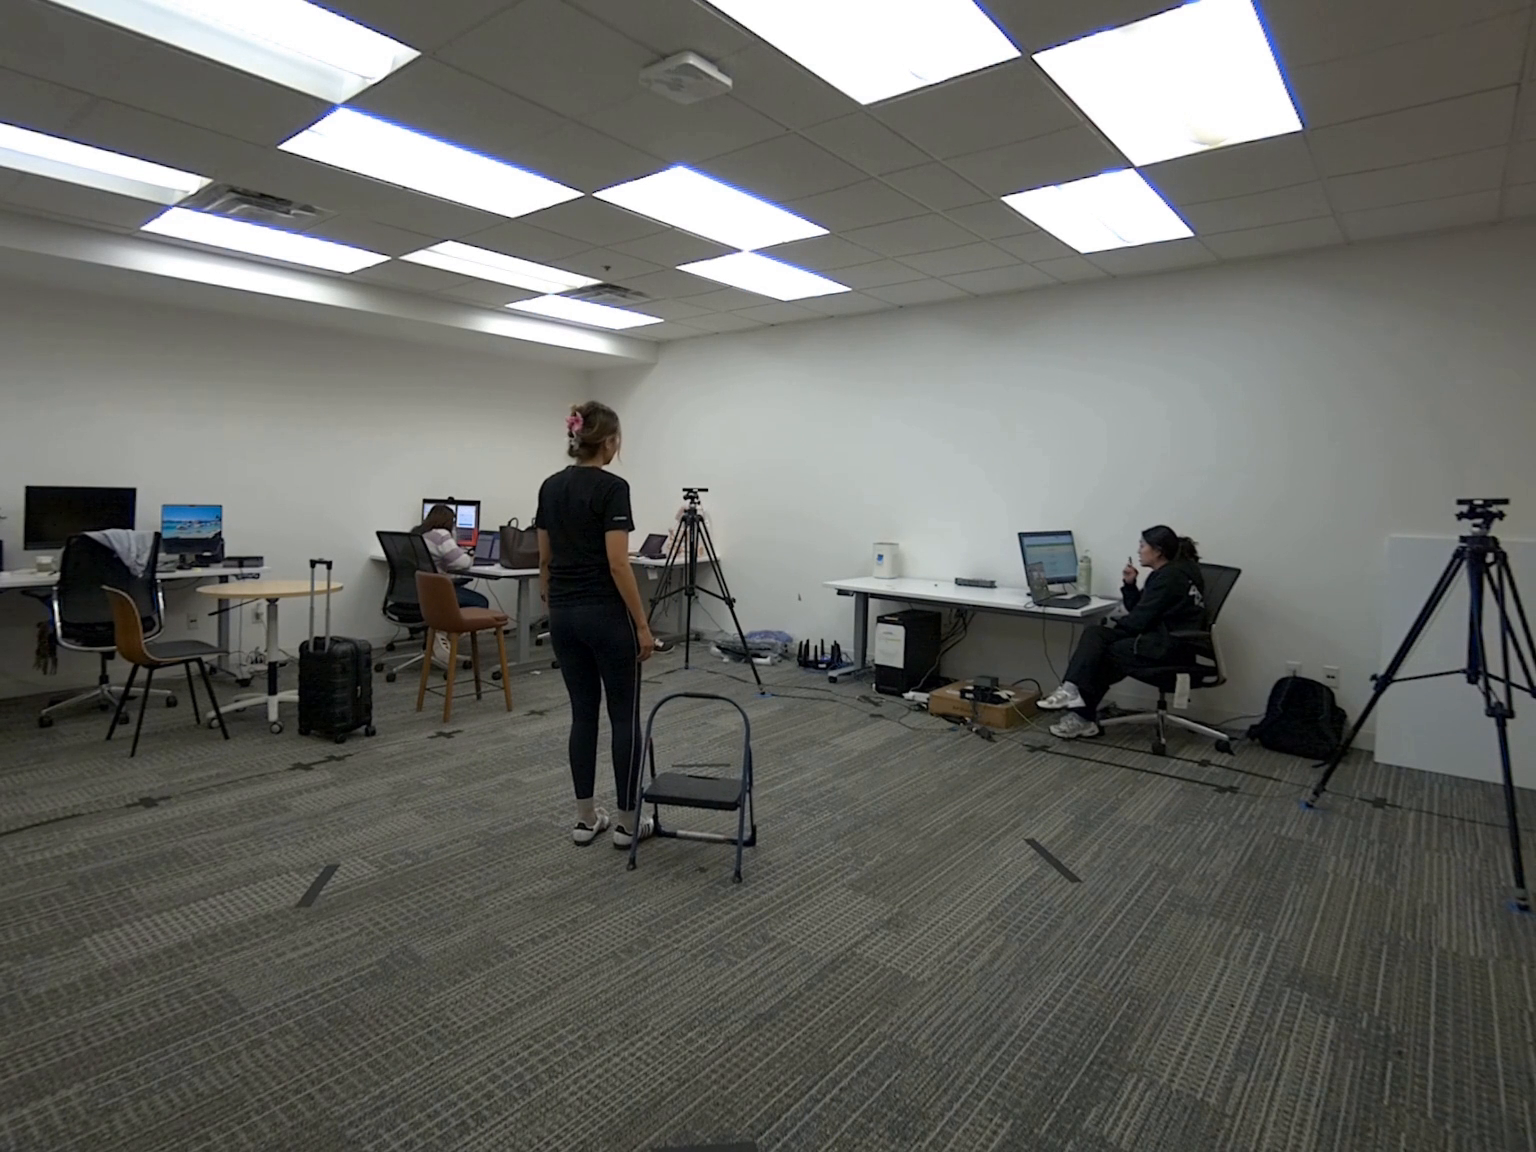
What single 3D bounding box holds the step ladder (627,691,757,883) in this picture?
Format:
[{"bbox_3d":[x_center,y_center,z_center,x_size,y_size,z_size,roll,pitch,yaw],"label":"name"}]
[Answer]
[{"bbox_3d":[-0.278,0.758,3.201,0.436,0.604,0.346,2,4,11],"label":"step ladder"}]
